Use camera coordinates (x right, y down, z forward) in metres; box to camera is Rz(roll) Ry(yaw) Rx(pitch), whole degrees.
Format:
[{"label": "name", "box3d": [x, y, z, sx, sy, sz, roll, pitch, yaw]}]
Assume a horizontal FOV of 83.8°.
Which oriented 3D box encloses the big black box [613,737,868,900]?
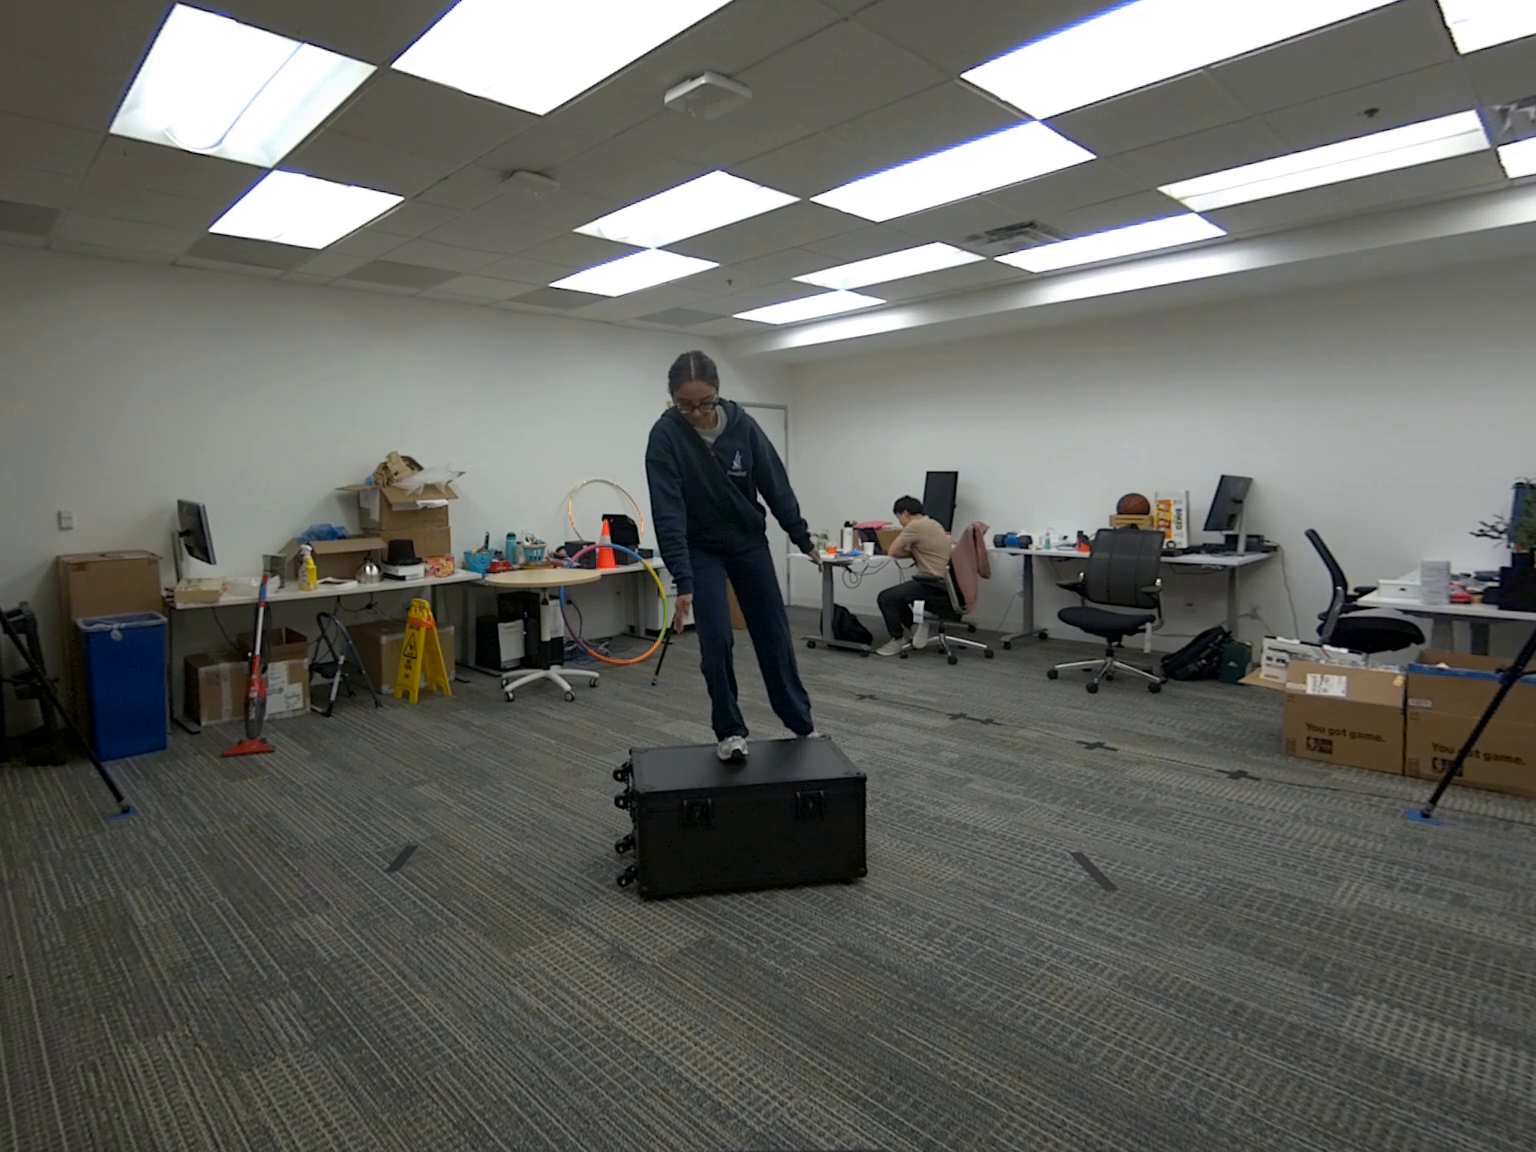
[{"label": "big black box", "box3d": [-0.128, 0.857, 3.094, 0.854, 0.395, 0.528, -2, 5, -10]}]
